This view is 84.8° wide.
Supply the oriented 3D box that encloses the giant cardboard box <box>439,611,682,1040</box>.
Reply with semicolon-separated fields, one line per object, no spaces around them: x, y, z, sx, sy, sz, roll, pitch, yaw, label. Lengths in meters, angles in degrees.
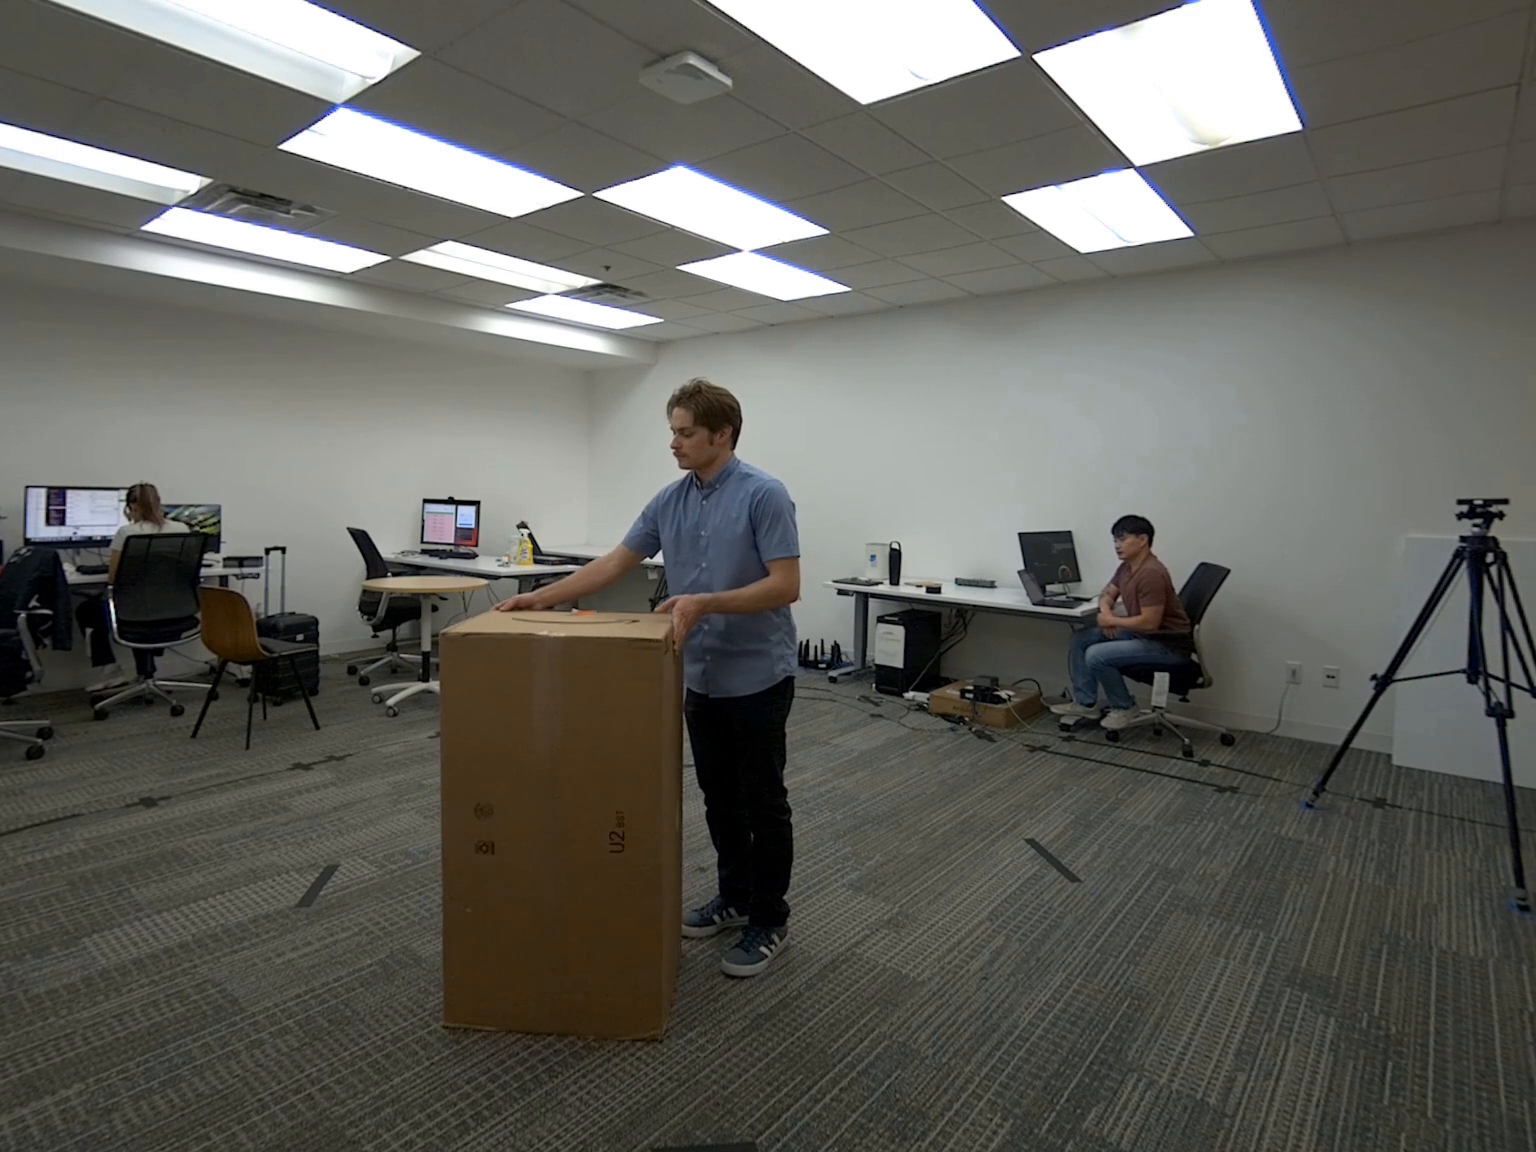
-0.553;0.634;2.331;0.580;1.023;0.425;0;3;4;giant cardboard box
